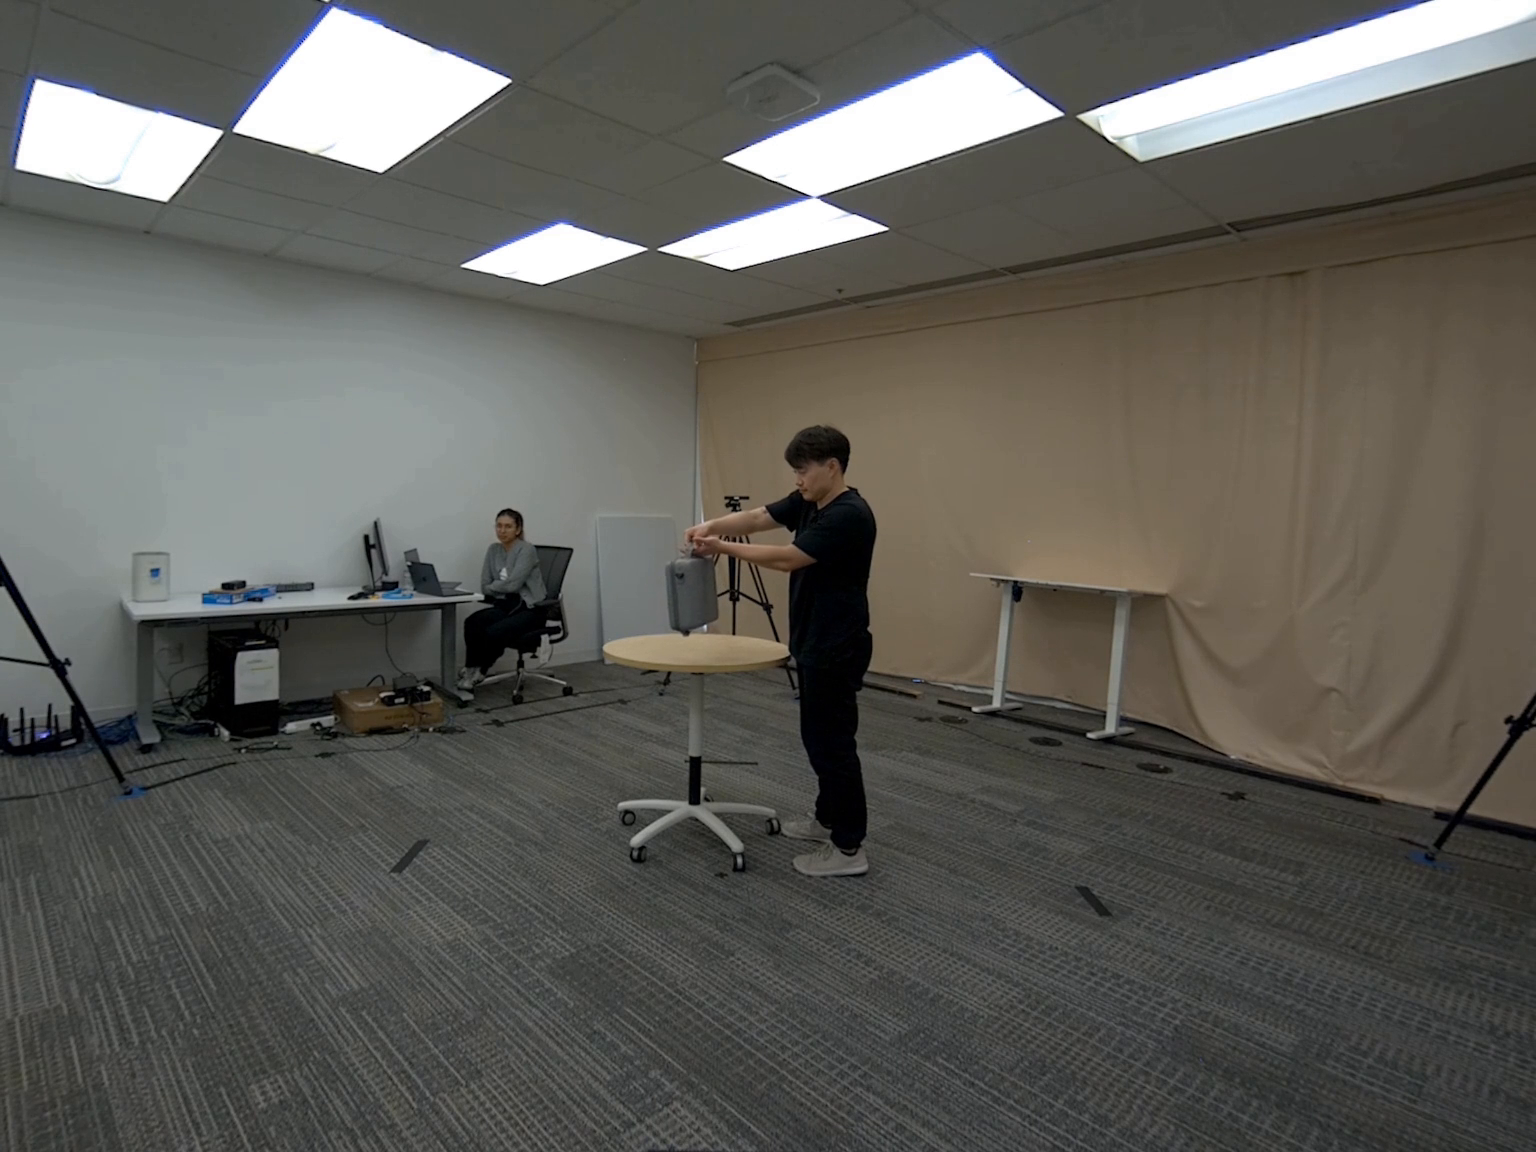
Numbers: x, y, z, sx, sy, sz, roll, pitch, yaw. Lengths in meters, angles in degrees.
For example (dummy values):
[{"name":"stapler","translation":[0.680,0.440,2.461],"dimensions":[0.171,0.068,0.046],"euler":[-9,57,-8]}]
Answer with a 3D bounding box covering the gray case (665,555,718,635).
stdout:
[{"name":"gray case","translation":[-0.277,0.058,3.049],"dimensions":[0.106,0.260,0.253],"euler":[0,5,24]}]
